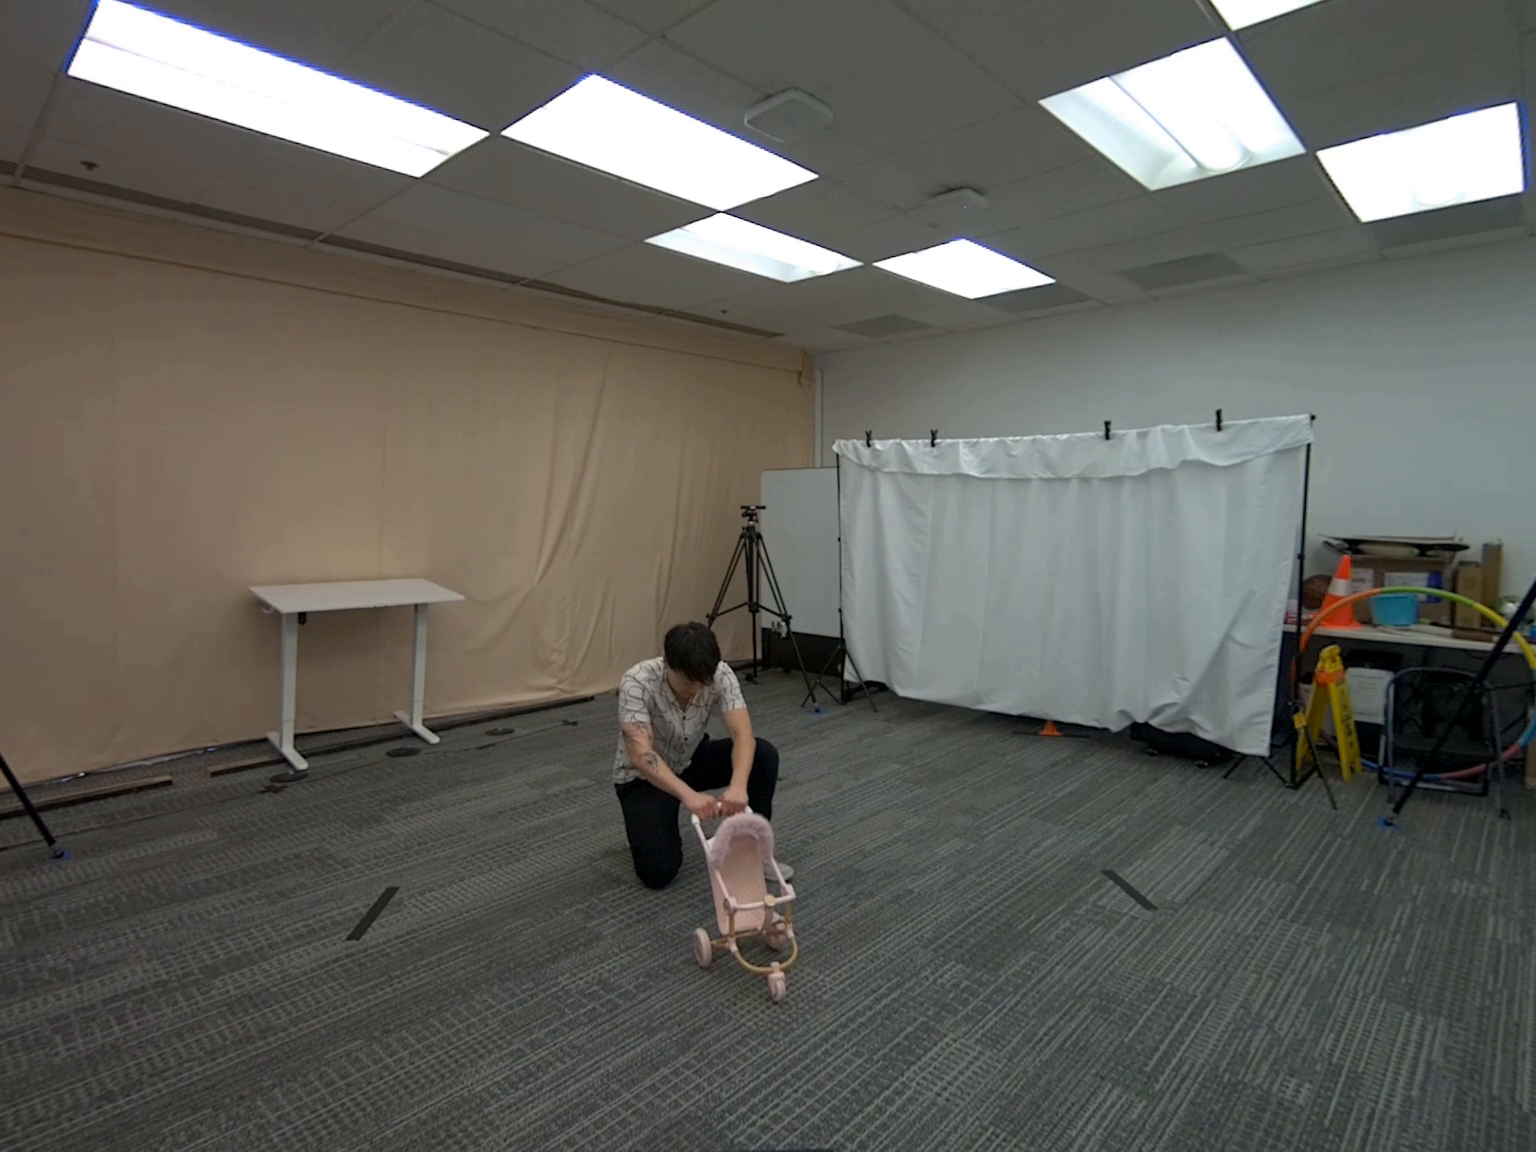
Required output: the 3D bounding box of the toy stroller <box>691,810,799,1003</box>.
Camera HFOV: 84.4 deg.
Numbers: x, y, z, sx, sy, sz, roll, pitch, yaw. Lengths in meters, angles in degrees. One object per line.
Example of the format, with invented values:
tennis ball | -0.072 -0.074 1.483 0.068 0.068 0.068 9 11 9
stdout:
toy stroller | -0.065 0.952 2.538 0.275 0.540 0.346 -1 -13 -23
